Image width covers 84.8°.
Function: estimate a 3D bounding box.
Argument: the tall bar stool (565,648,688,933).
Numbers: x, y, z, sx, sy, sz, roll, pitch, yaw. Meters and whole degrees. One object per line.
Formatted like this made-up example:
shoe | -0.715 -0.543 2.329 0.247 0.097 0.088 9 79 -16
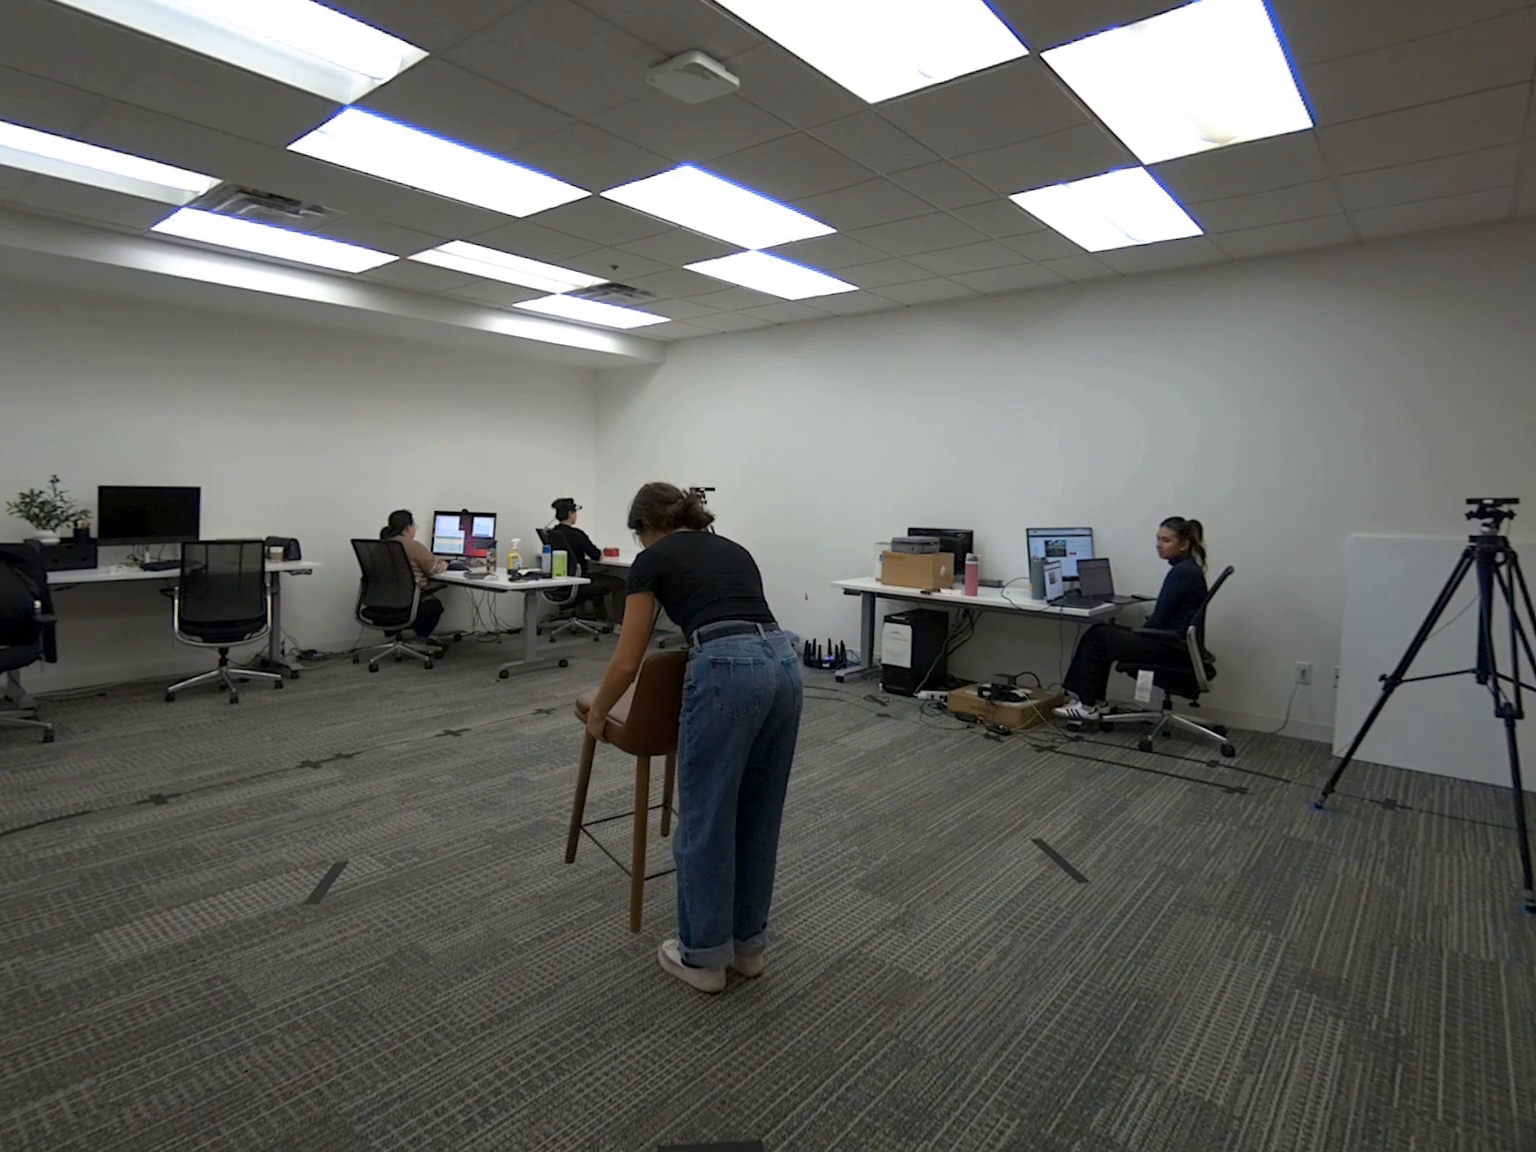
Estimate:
tall bar stool | -0.365 0.579 2.733 0.443 0.881 0.486 -3 15 -37
